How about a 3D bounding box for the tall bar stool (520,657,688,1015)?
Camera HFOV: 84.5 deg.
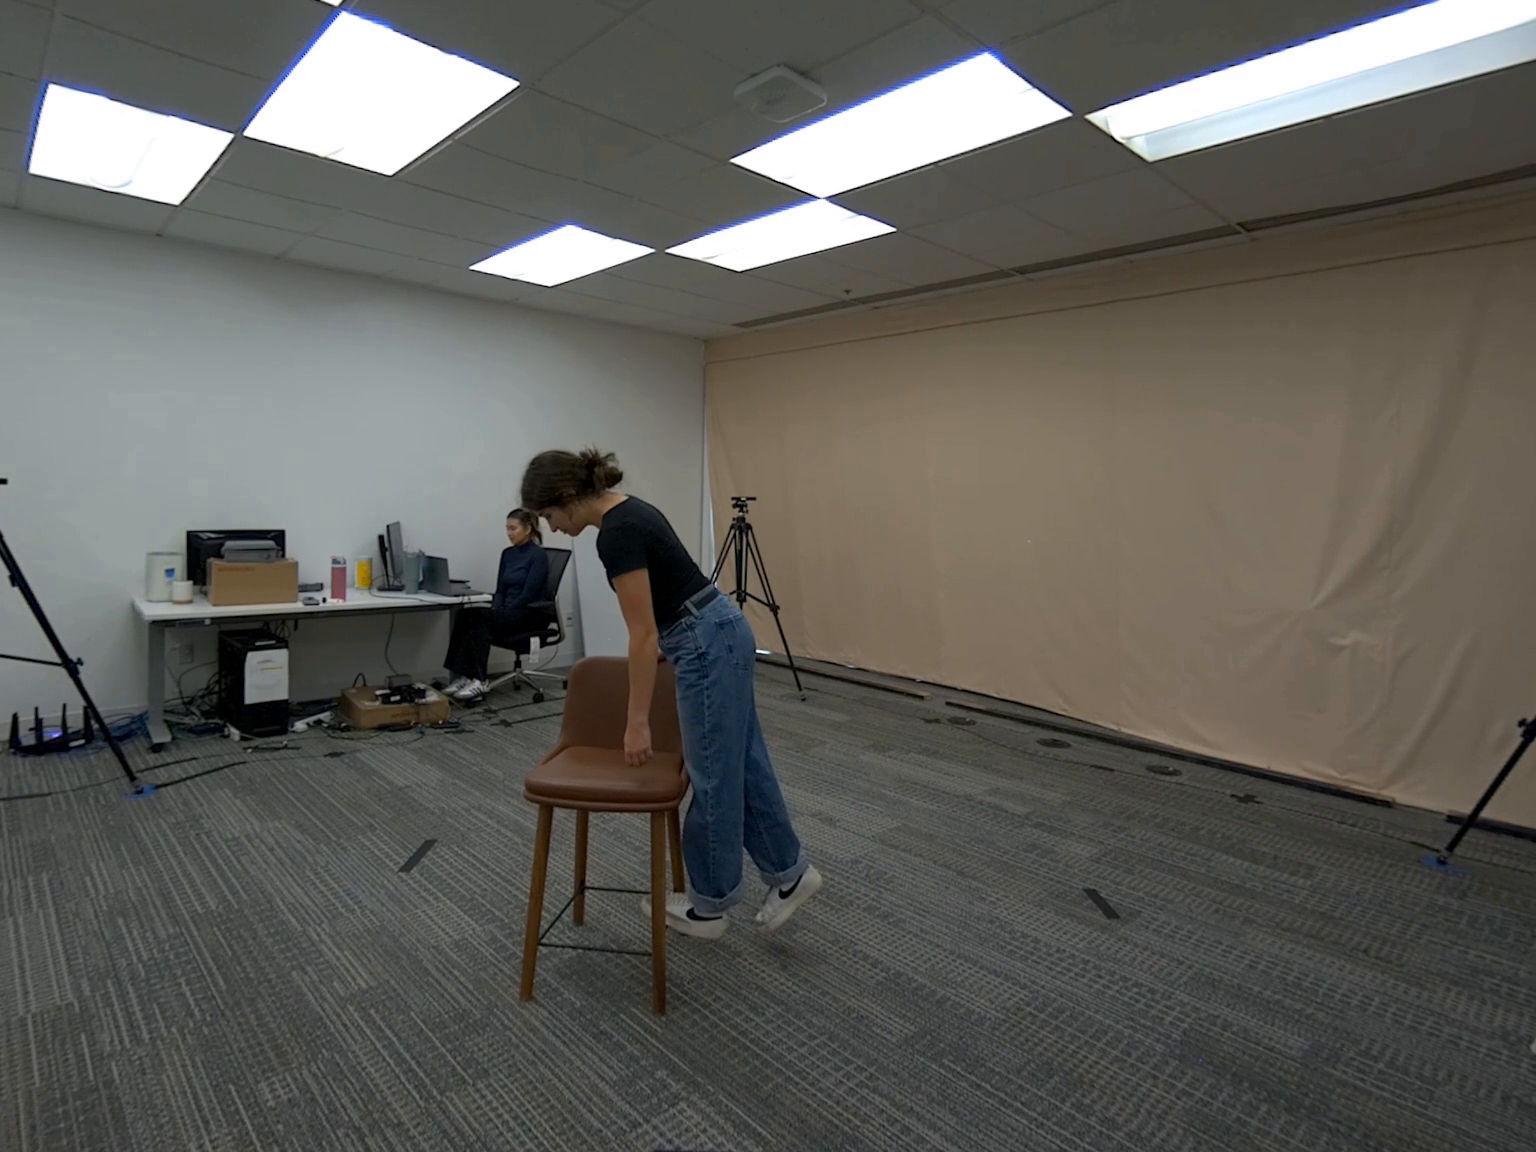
[{"bbox_3d":[-0.457,0.719,2.482,0.459,0.889,0.465,1,1,7],"label":"tall bar stool"}]
